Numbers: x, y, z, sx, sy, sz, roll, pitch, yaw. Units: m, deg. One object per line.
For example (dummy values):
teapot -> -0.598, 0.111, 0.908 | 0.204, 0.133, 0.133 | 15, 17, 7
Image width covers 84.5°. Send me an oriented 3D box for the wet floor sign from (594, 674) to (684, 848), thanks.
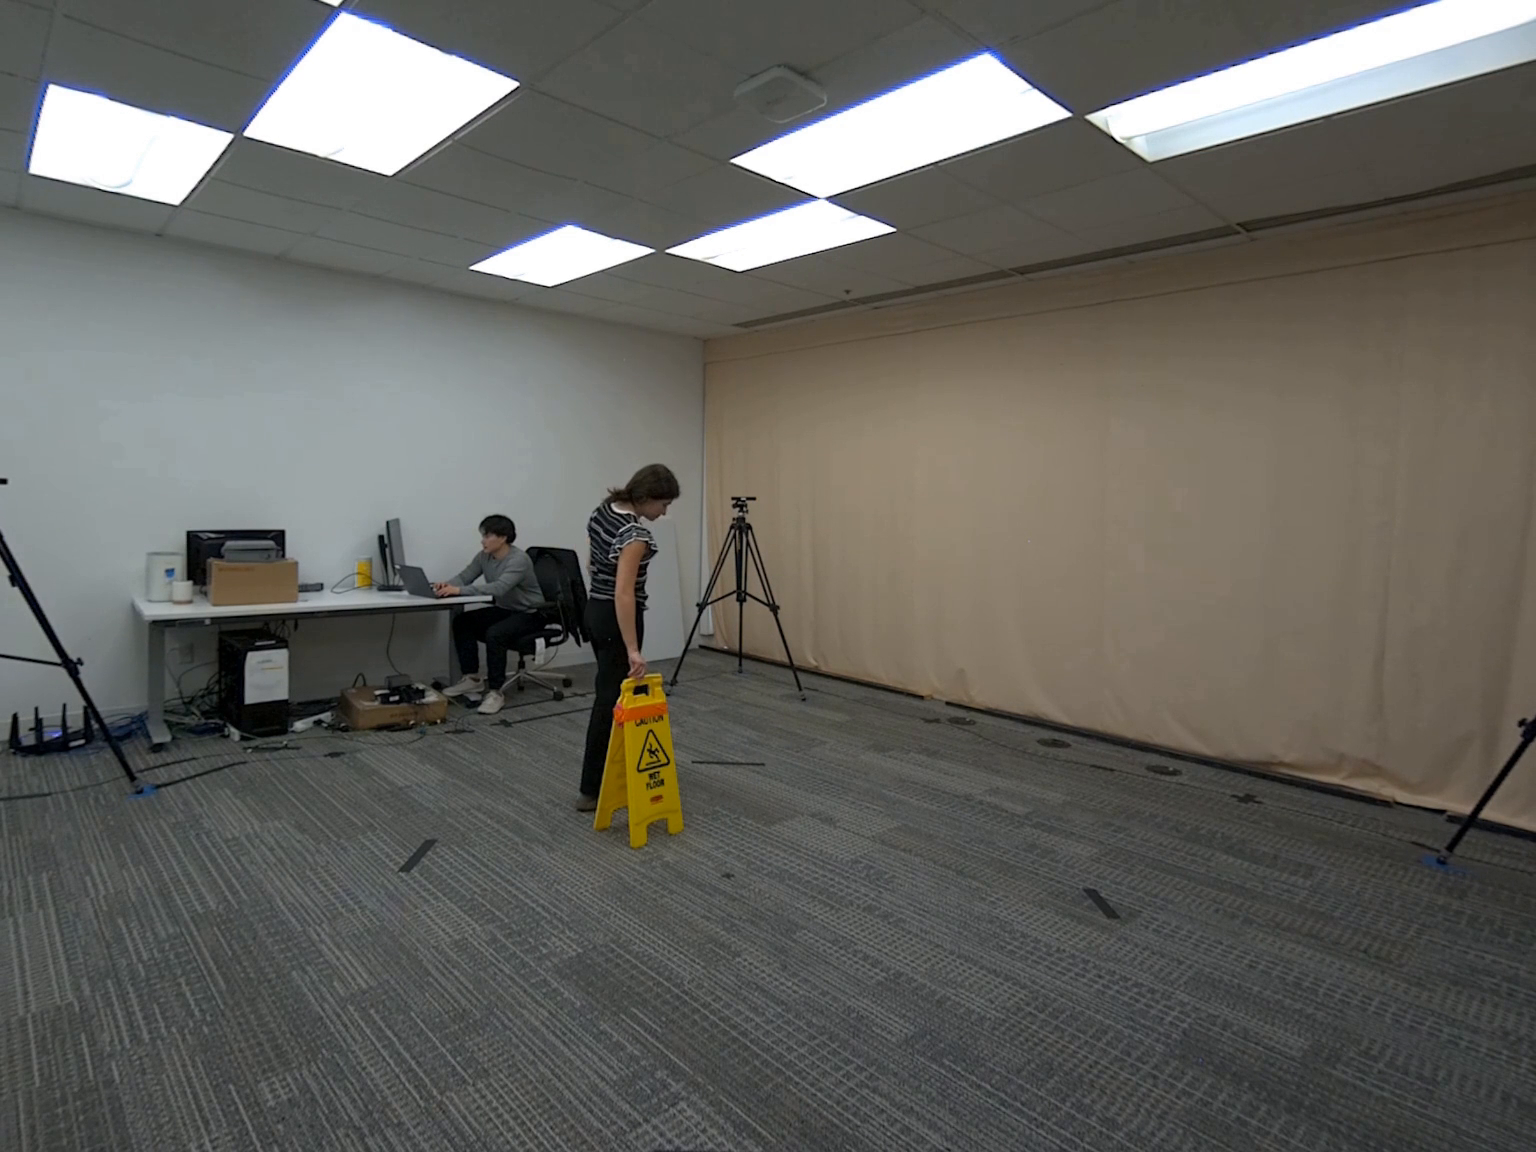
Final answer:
wet floor sign -> -0.542, 0.738, 3.496 | 0.297, 0.645, 0.276 | 3, 3, 43
